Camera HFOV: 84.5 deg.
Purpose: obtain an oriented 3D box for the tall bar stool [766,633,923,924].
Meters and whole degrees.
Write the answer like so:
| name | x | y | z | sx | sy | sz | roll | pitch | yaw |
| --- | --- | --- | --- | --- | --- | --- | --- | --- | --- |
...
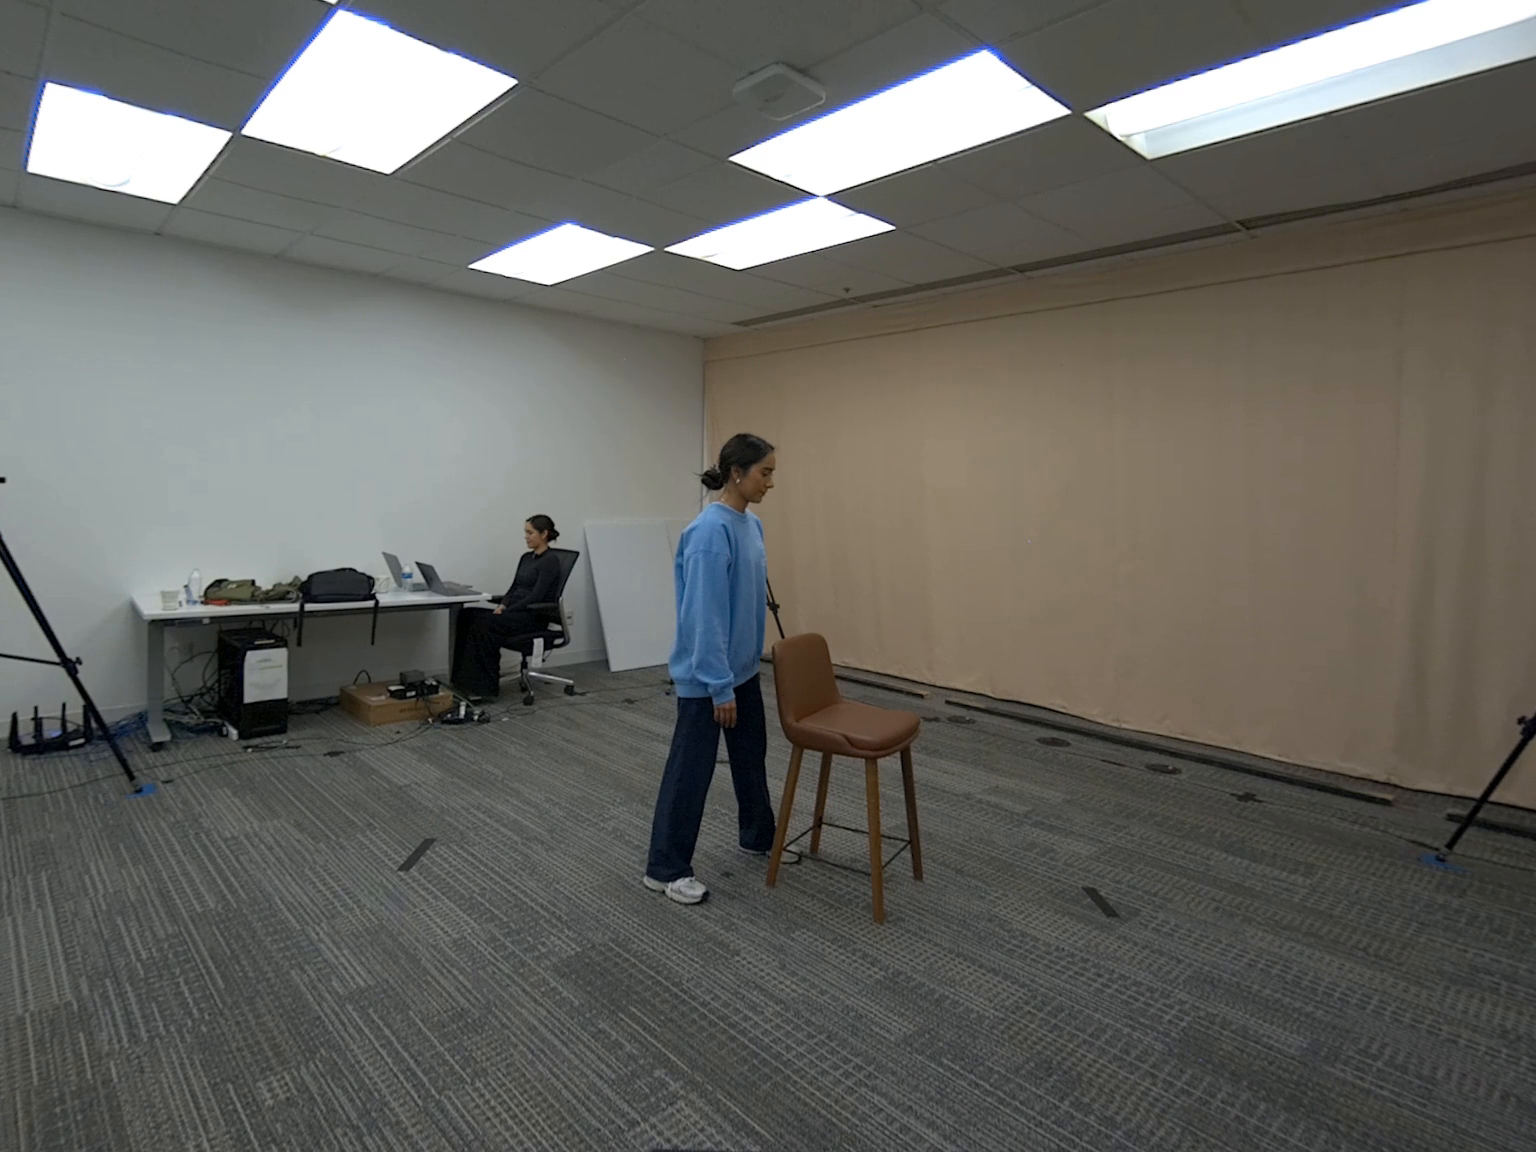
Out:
| name | x | y | z | sx | sy | sz | roll | pitch | yaw |
| --- | --- | --- | --- | --- | --- | --- | --- | --- | --- |
| tall bar stool | 0.273 | 0.677 | 3.036 | 0.478 | 0.888 | 0.447 | 1 | 2 | 32 |
